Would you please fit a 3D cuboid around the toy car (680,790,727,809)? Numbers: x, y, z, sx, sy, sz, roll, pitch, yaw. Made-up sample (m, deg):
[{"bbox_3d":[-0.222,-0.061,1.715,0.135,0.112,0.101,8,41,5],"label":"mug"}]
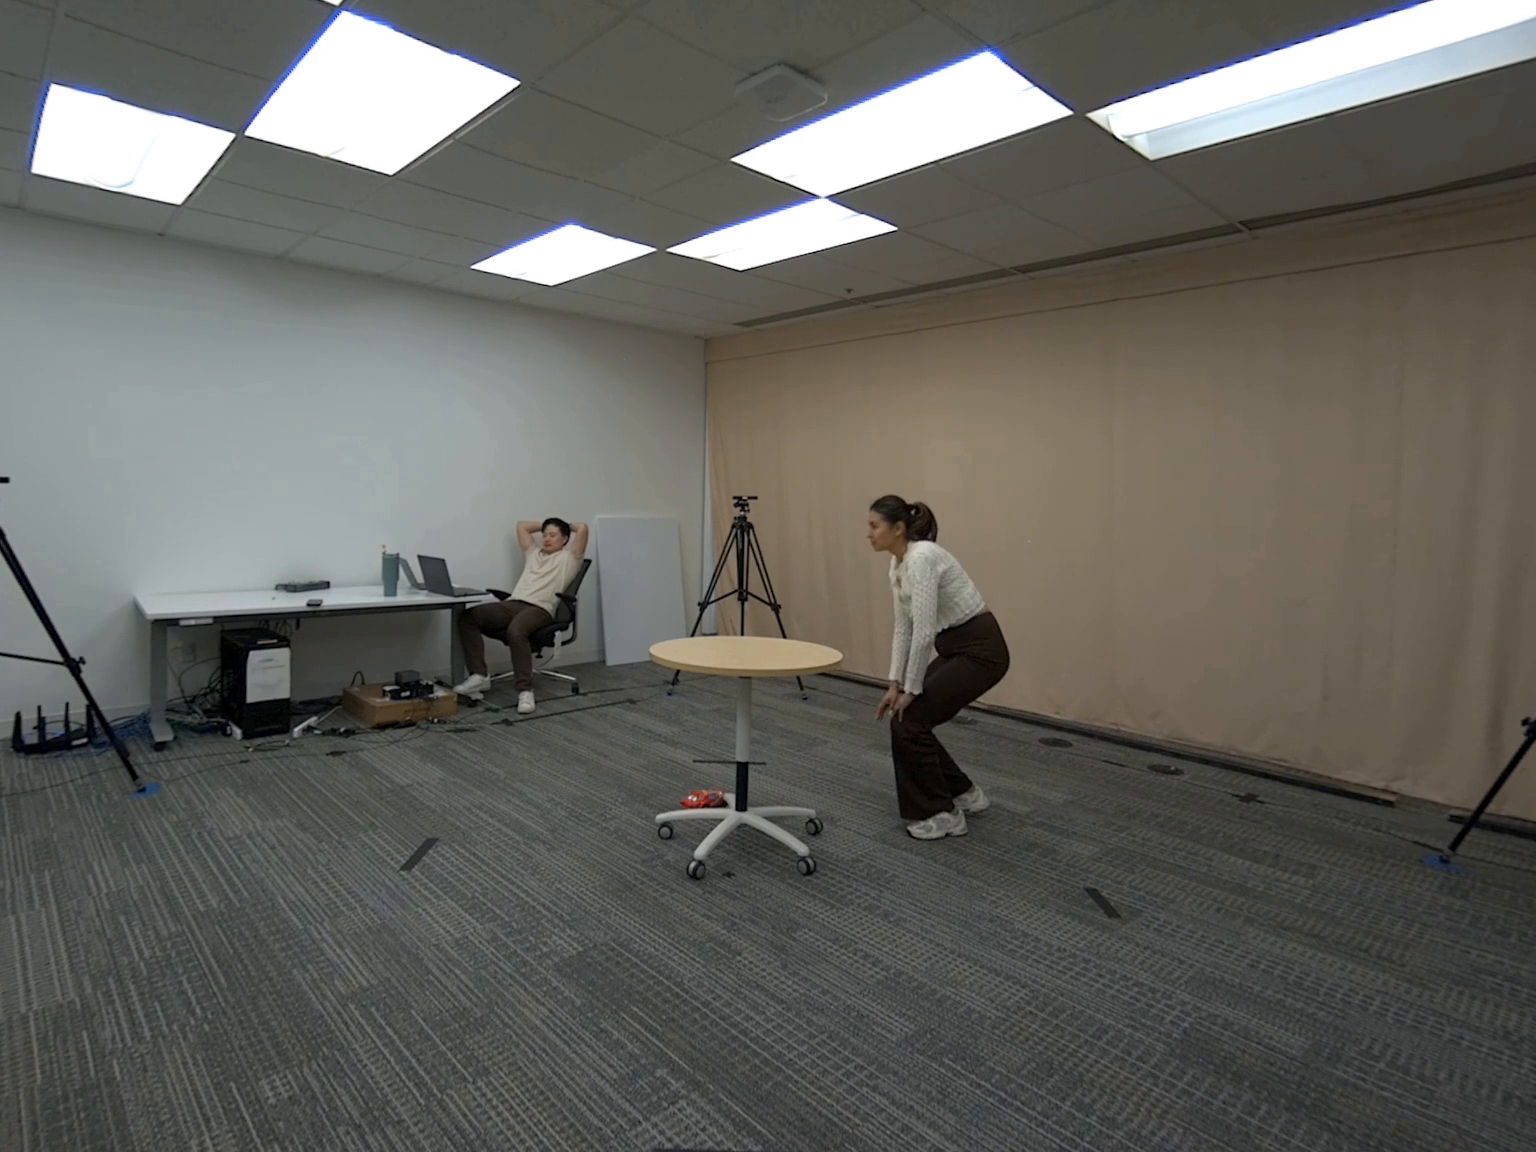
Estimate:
[{"bbox_3d":[-0.291,1.005,3.777,0.133,0.083,0.247,5,-5,39],"label":"toy car"}]
